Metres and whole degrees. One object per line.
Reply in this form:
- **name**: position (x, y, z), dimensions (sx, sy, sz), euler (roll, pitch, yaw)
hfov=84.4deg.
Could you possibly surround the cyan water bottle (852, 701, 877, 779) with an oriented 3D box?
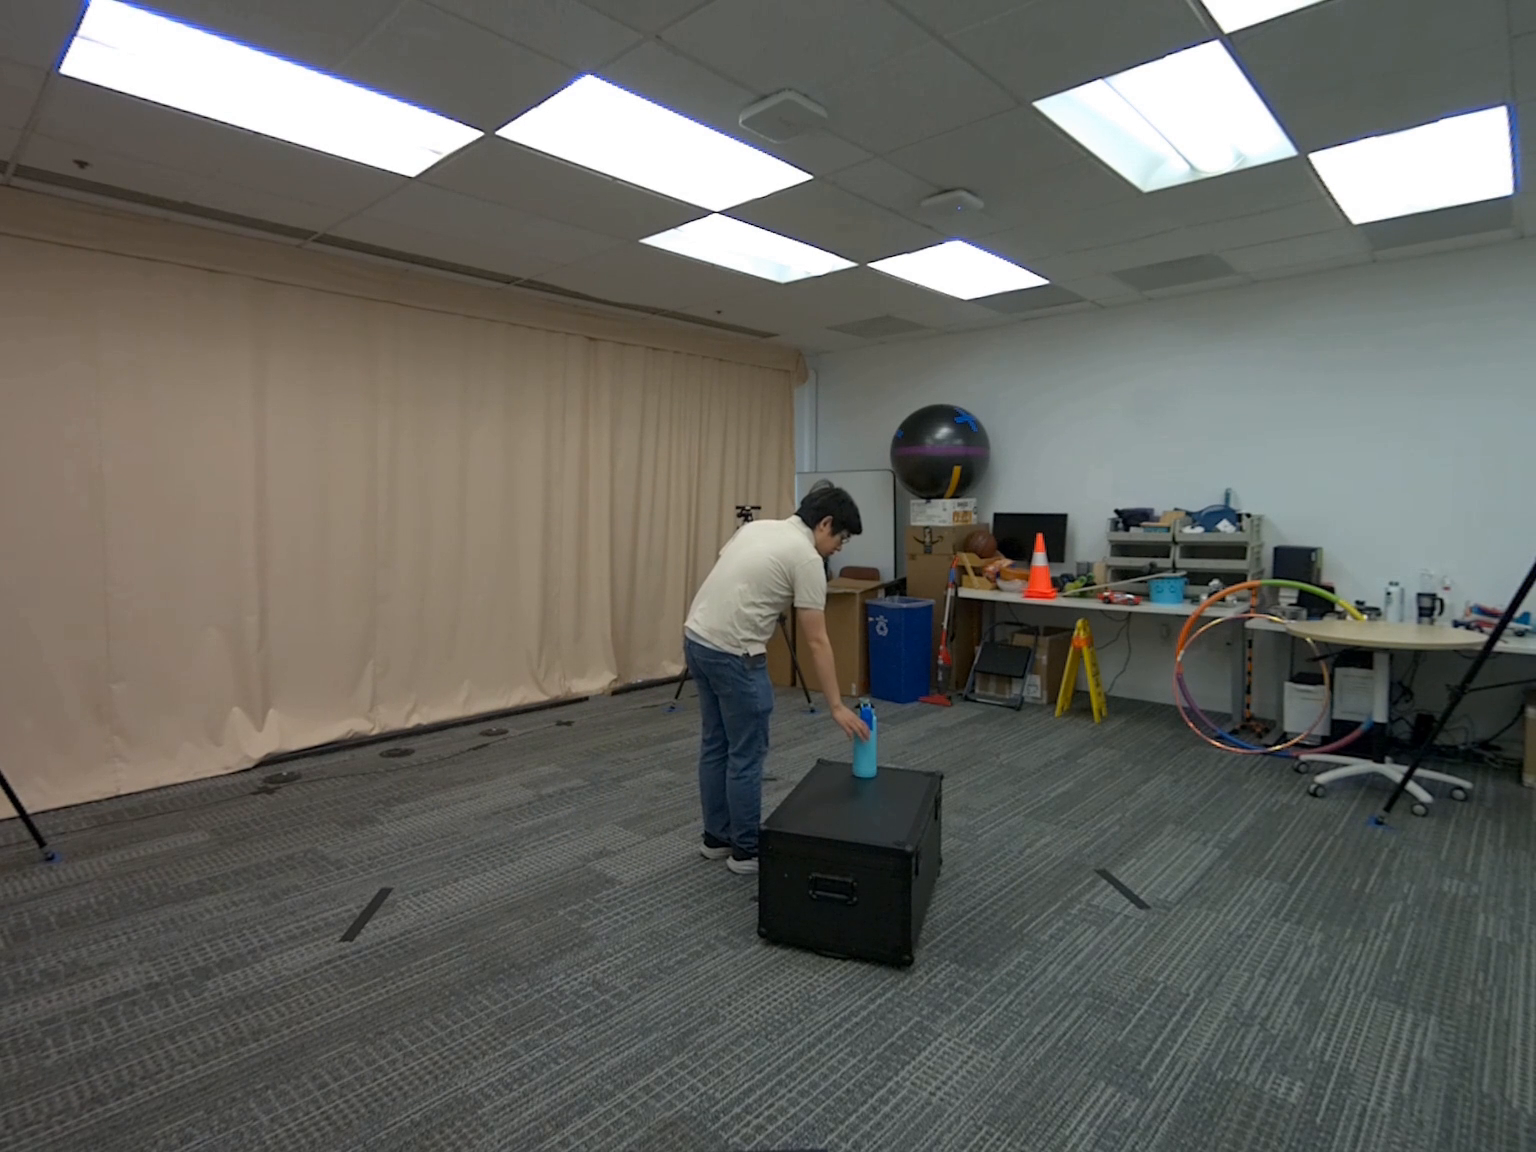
- **cyan water bottle**: position (0.374, 0.610, 3.179), dimensions (0.092, 0.283, 0.093), euler (0, 4, -2)
